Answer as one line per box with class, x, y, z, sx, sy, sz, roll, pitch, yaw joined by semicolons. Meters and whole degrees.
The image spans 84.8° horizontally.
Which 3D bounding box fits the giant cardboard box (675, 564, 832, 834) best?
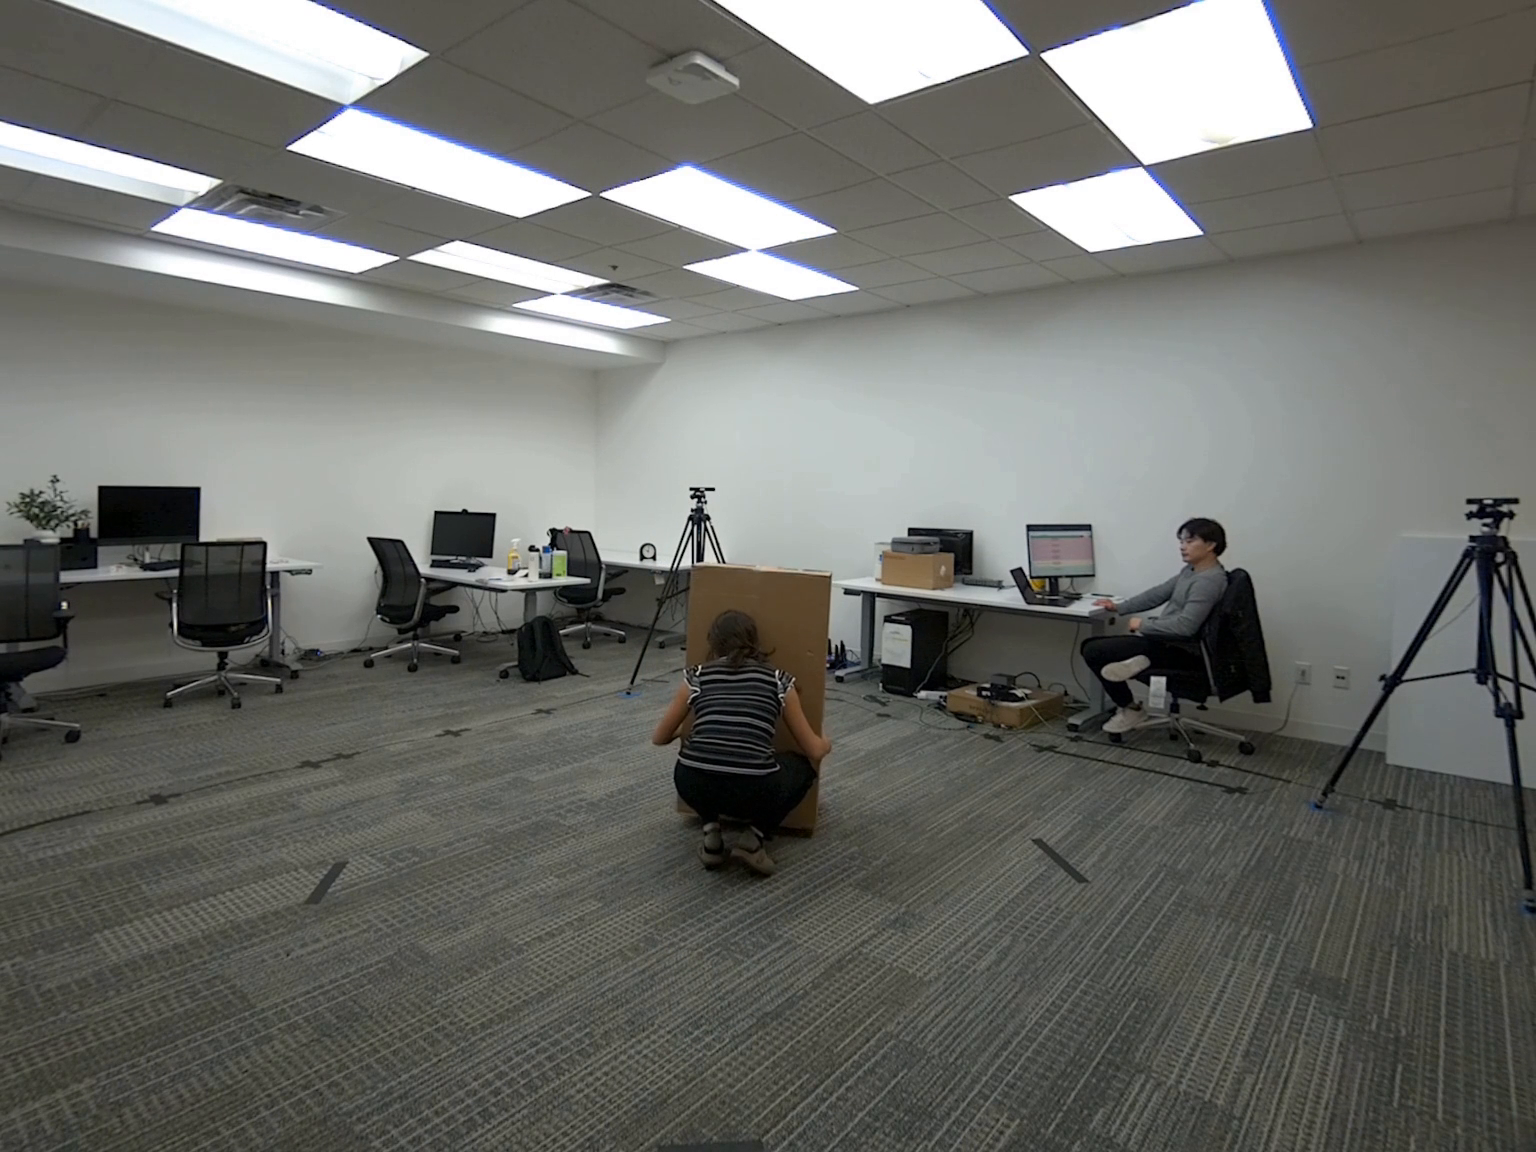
giant cardboard box;-0.059;0.470;3.650;0.581;1.025;0.424;4;1;5
